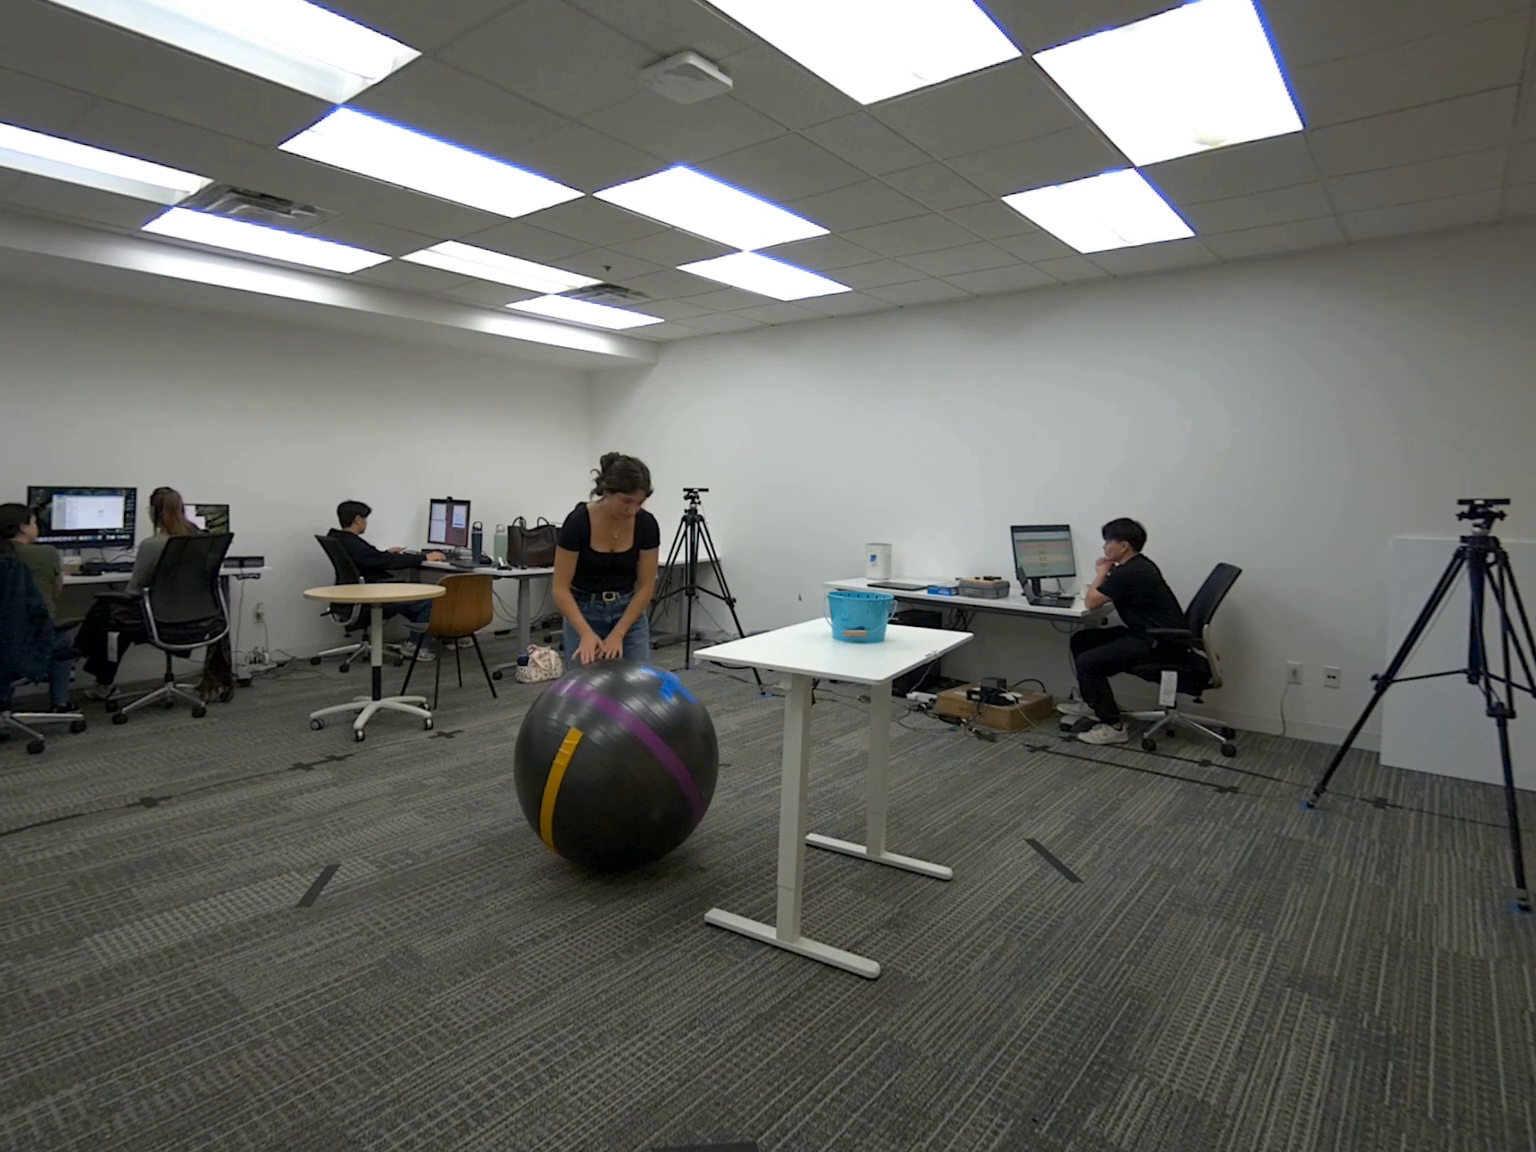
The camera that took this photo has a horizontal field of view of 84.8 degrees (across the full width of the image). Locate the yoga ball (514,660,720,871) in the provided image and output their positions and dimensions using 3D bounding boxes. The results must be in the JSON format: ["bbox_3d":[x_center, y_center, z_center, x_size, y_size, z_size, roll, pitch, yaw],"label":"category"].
[{"bbox_3d":[-0.569,0.696,3.155,0.757,0.756,0.762,1,4,-2],"label":"yoga ball"}]
